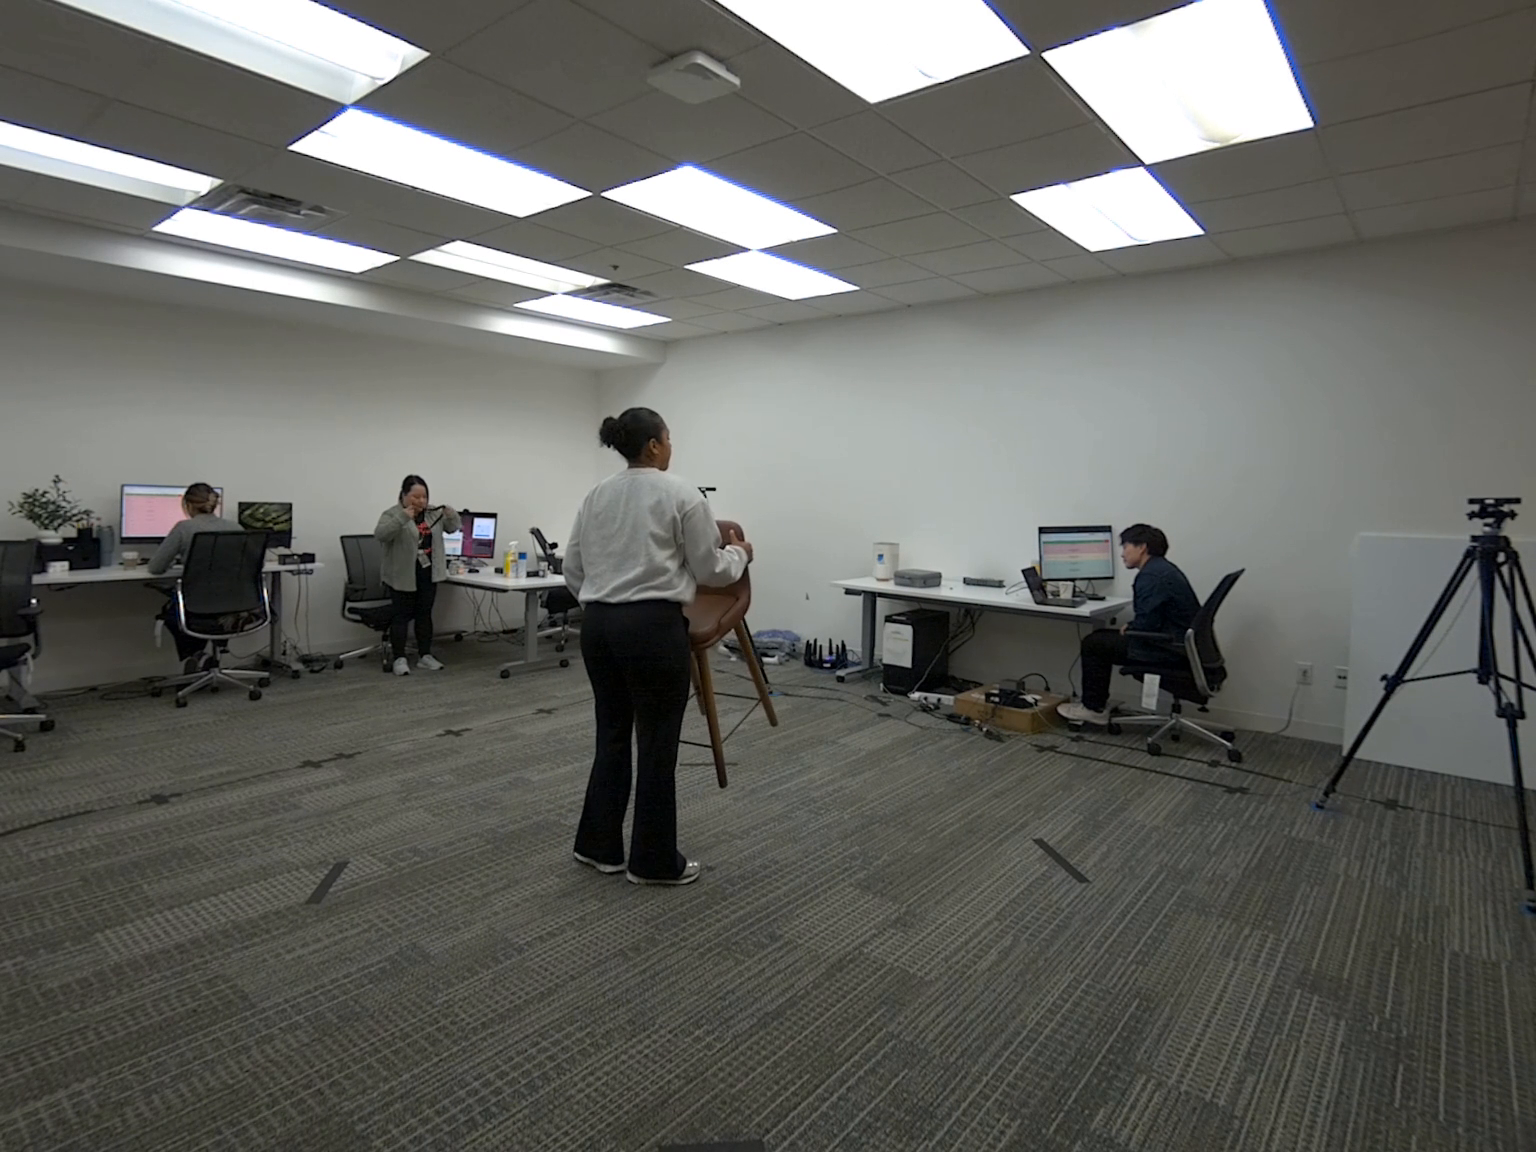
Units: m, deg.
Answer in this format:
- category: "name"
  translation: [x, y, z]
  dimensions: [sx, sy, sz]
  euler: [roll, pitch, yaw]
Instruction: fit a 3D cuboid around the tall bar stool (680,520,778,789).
- category: "tall bar stool"
  translation: [-0.309, 0.277, 3.272]
  dimensions: [0.470, 0.874, 0.462]
  euler: [2, 20, 33]
